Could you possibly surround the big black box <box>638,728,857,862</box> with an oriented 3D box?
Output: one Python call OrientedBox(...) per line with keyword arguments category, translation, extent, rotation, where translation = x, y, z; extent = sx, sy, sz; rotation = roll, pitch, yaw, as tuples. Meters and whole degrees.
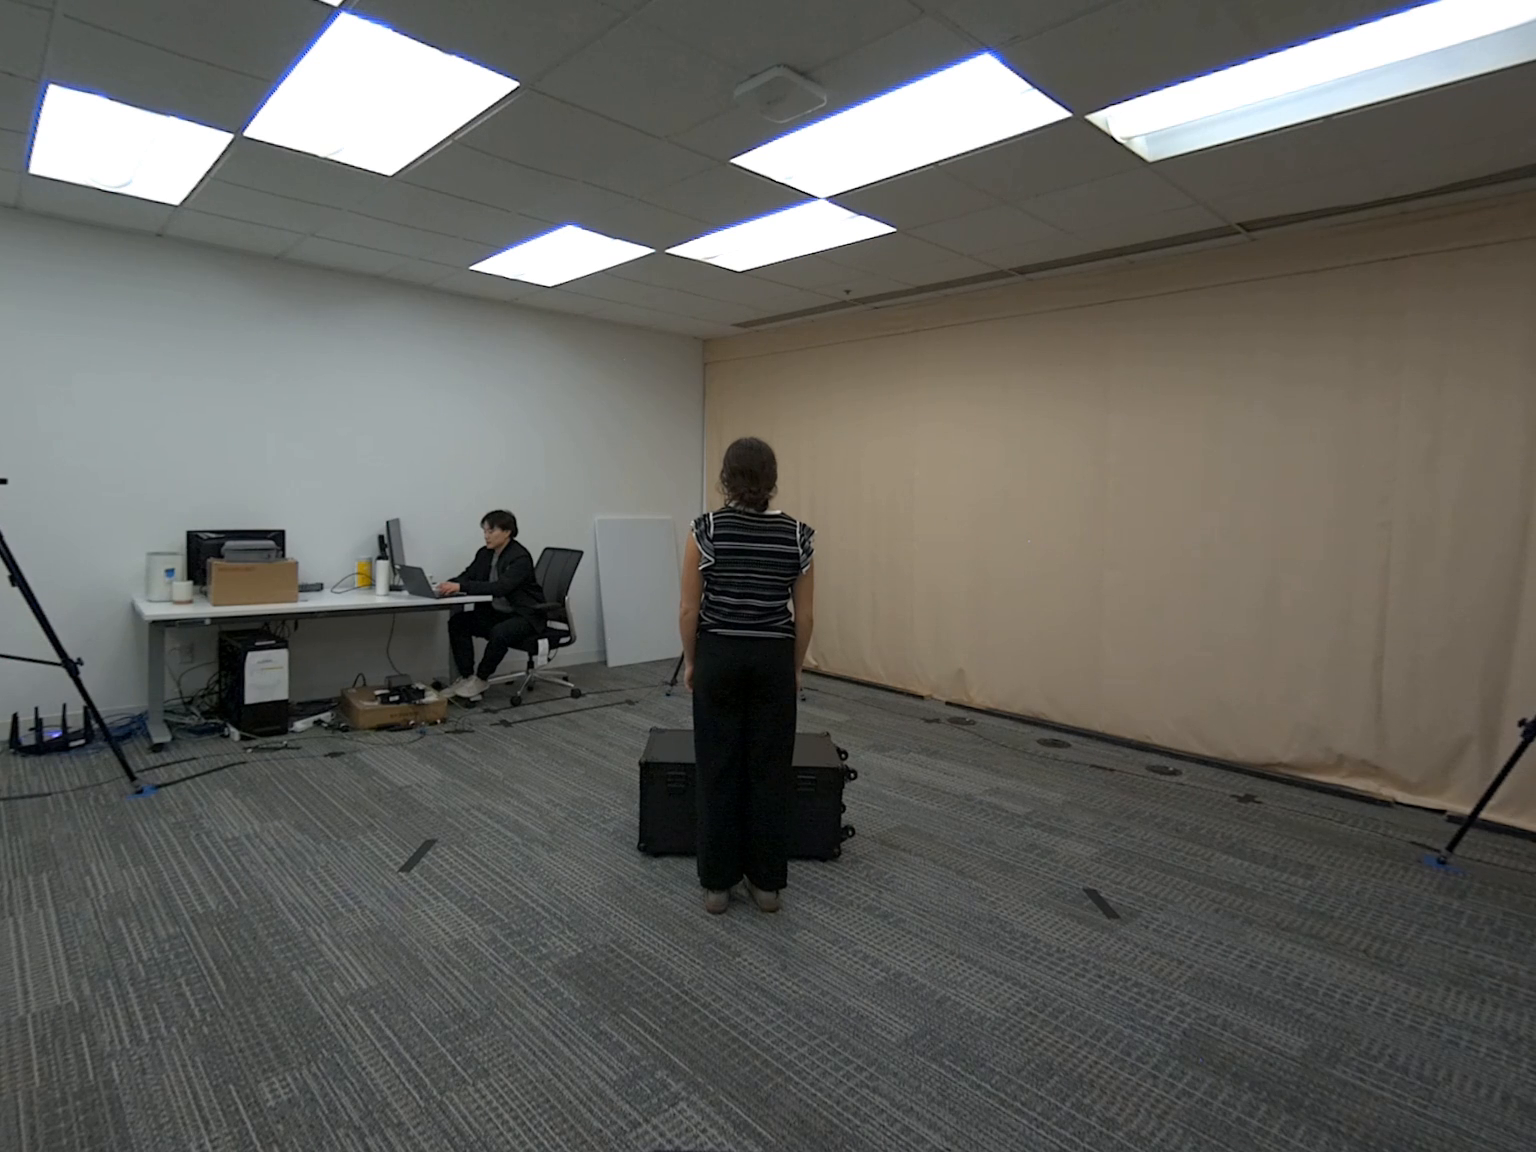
OrientedBox(category="big black box", translation=(-0.091, 0.884, 3.465), extent=(0.861, 0.395, 0.523), rotation=(1, 4, -1))
